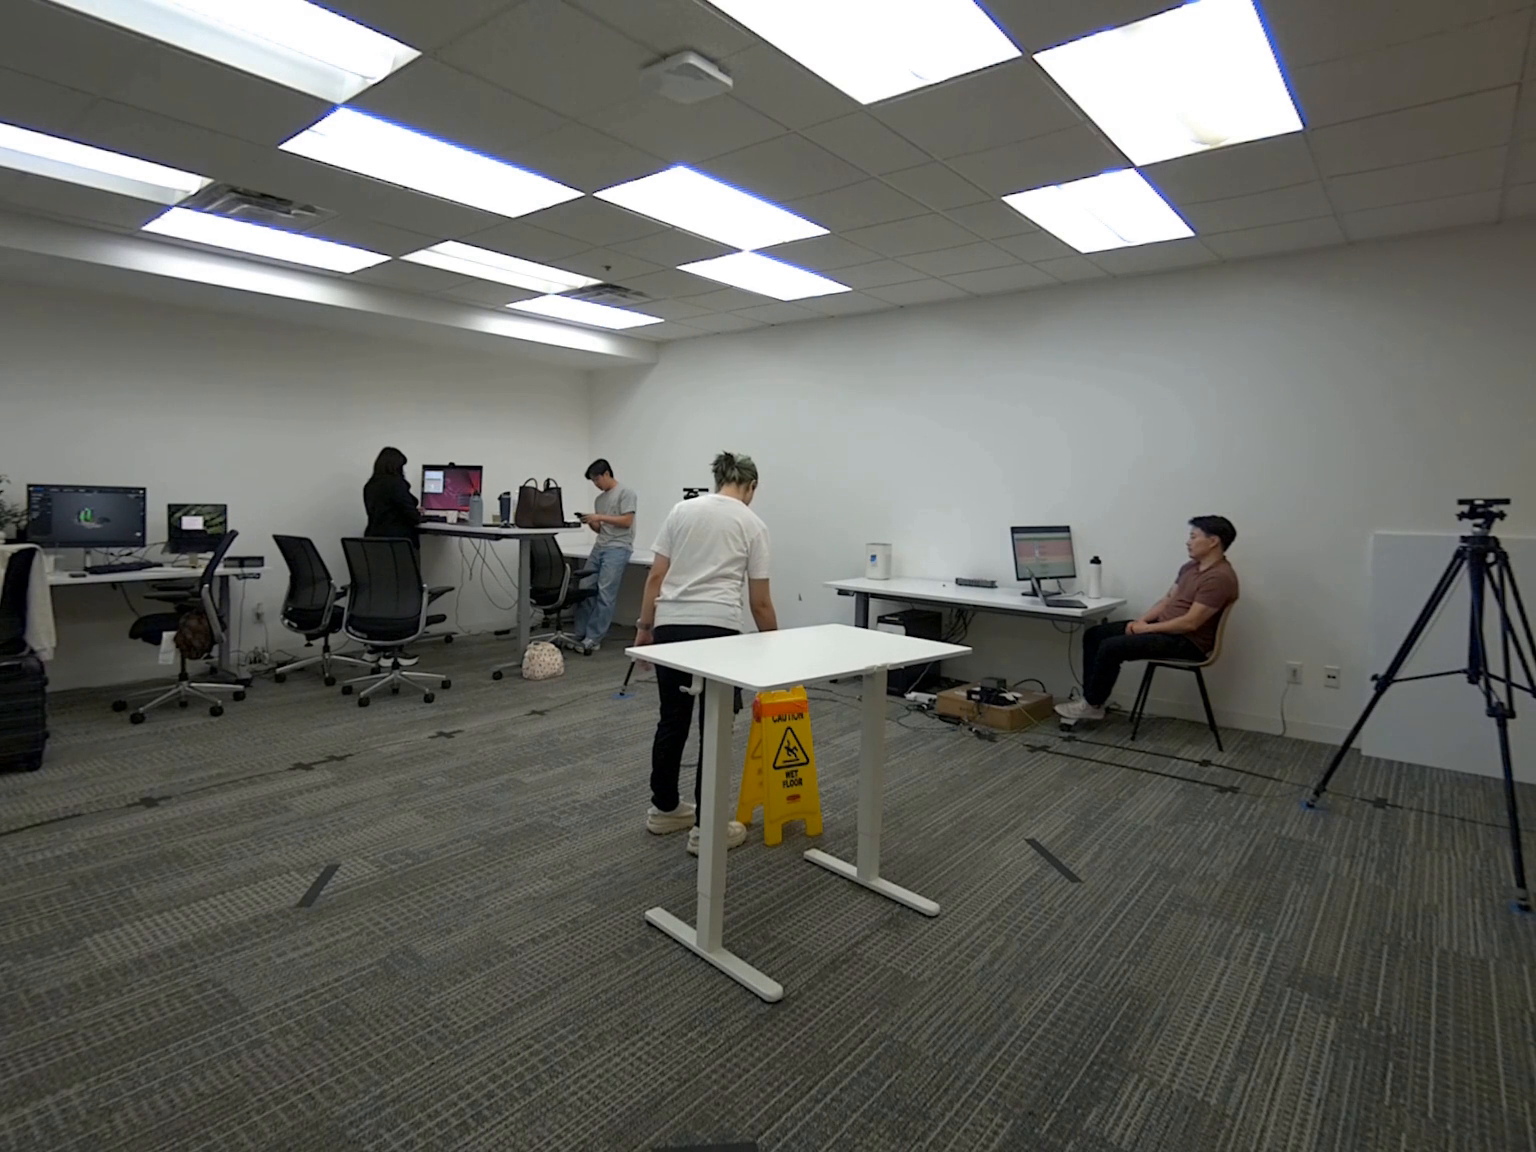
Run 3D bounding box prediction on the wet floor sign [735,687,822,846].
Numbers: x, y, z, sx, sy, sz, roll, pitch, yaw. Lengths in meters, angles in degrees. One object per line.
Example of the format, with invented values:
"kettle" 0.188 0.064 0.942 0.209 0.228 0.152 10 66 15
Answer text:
"wet floor sign" 0.042 0.716 3.483 0.274 0.644 0.298 0 3 -31
